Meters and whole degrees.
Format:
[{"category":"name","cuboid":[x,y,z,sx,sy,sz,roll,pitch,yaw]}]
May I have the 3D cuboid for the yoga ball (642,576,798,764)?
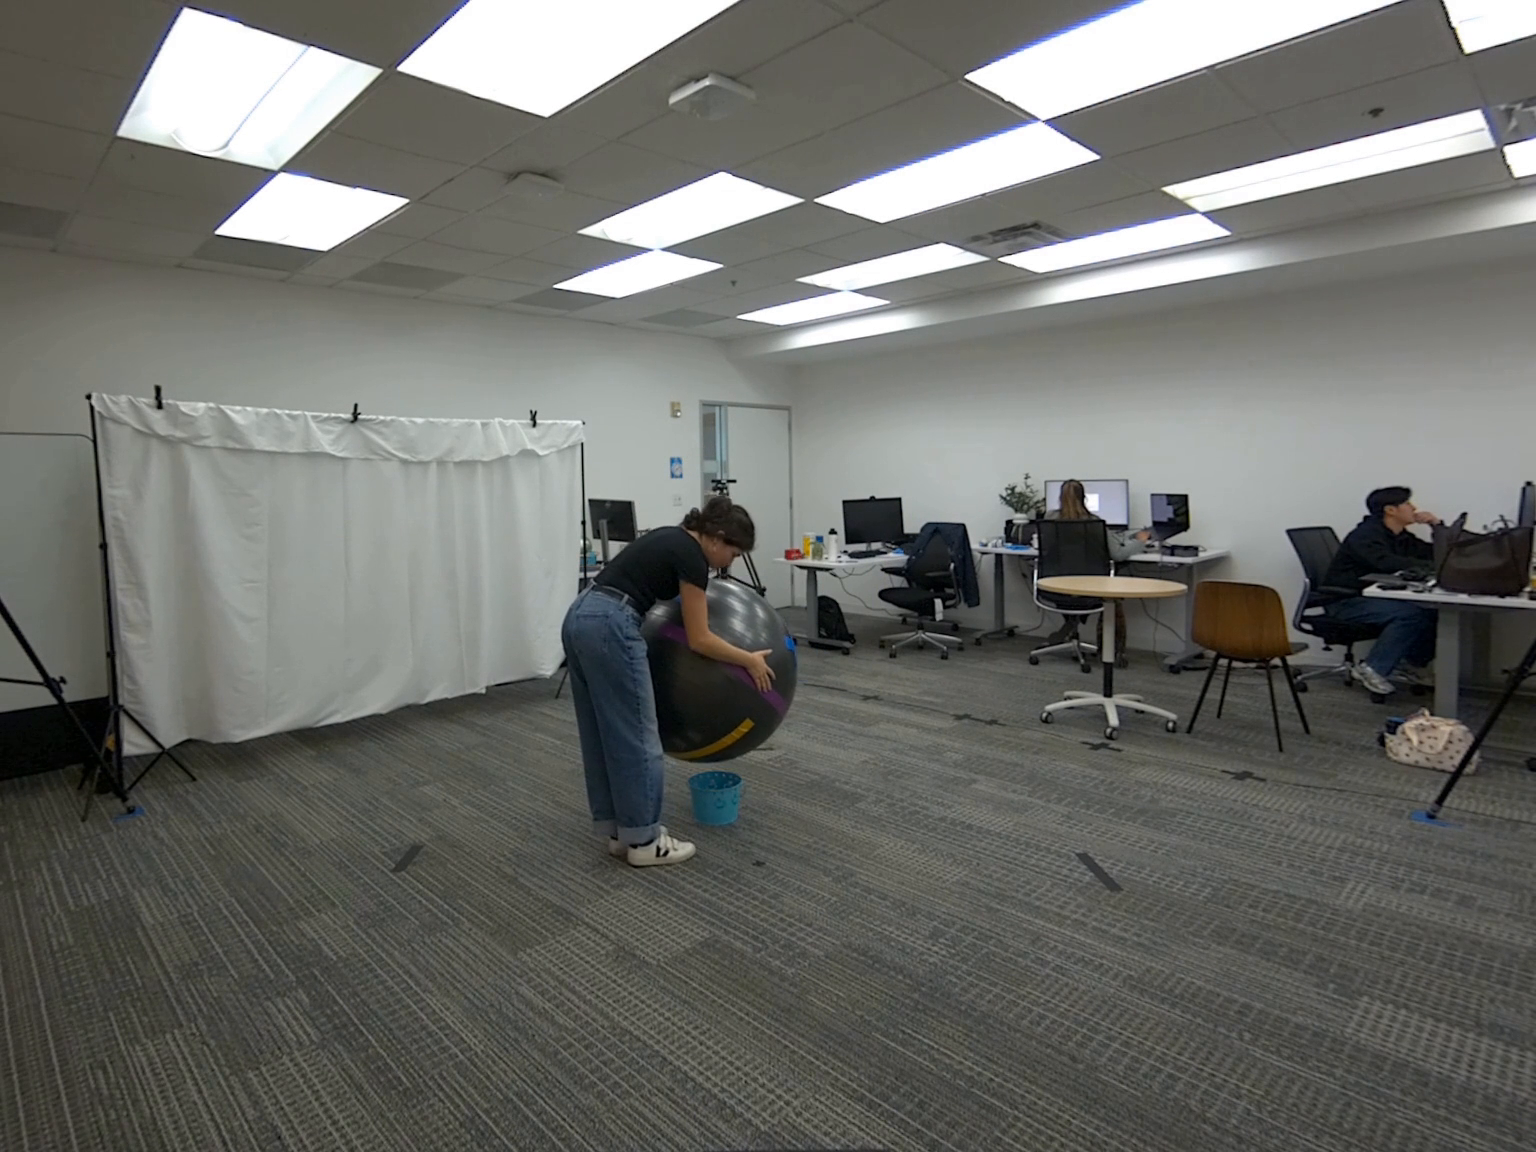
[{"category":"yoga ball","cuboid":[-0.250,0.385,3.561,0.757,0.755,0.762,-1,5,-2]}]
